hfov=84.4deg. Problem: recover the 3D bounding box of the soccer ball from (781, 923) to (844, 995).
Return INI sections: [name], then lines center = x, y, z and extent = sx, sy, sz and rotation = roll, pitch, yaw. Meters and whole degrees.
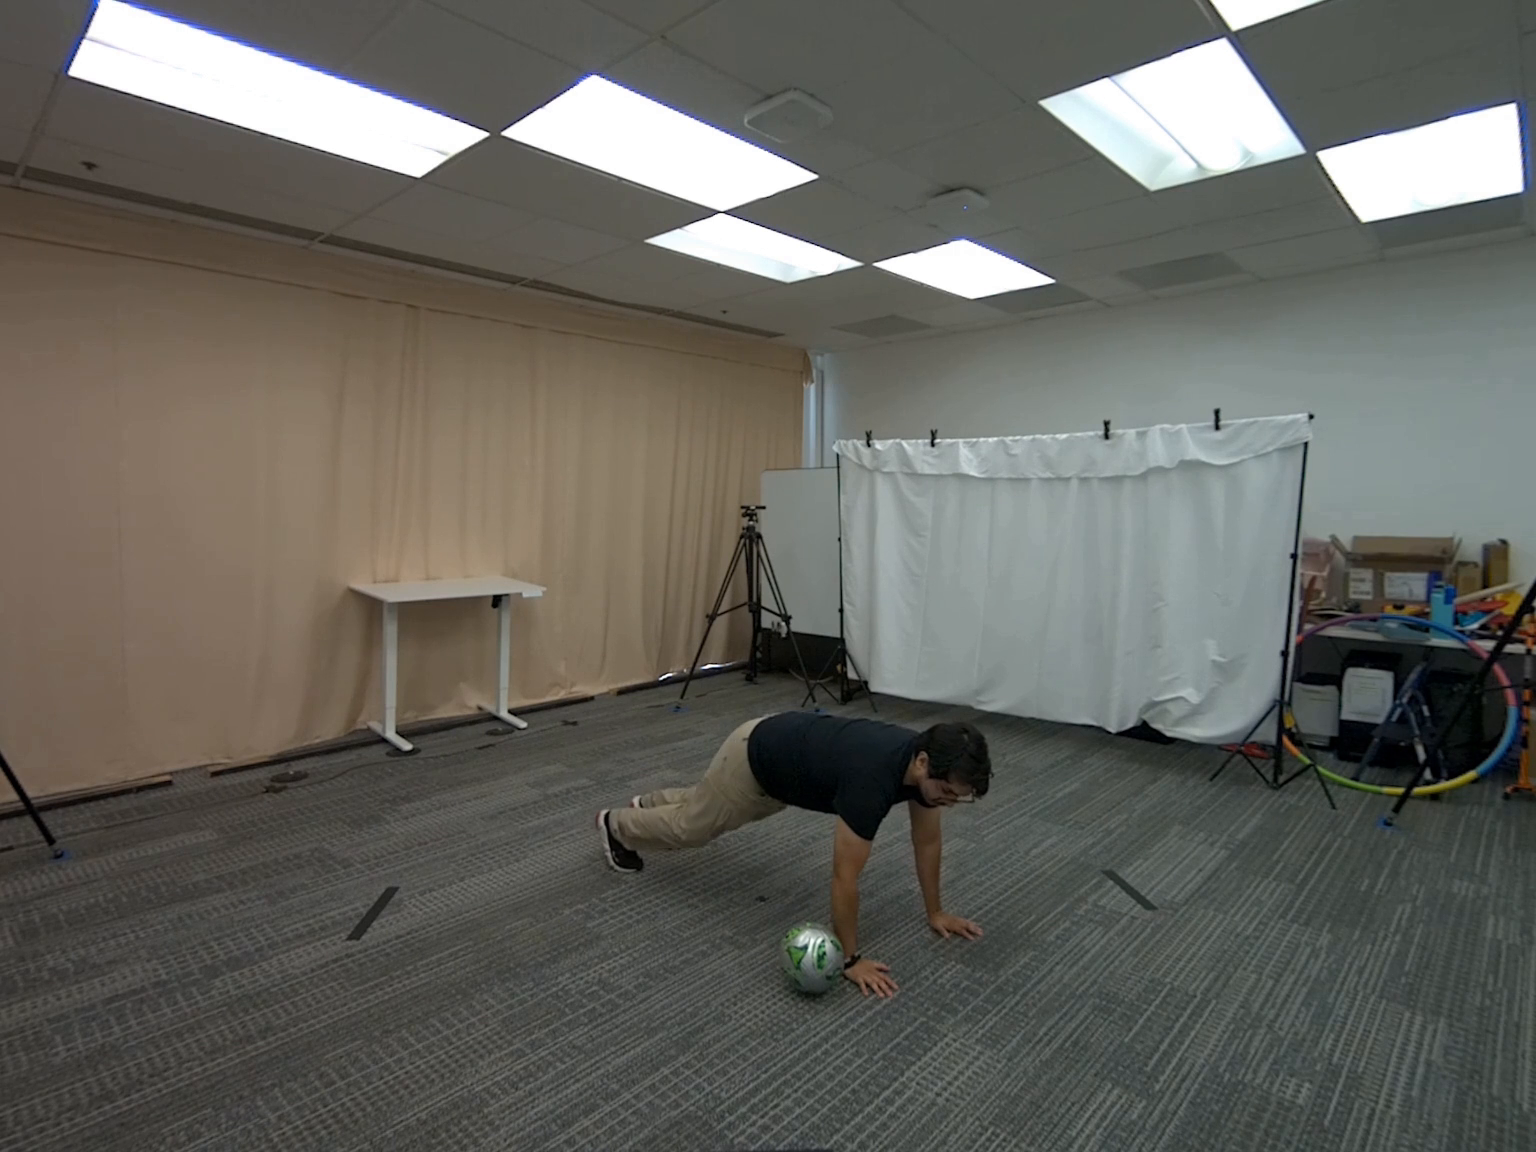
[soccer ball]
center = 0.128, 1.100, 2.418
extent = 0.187, 0.187, 0.188
rotation = 0, 4, -2
